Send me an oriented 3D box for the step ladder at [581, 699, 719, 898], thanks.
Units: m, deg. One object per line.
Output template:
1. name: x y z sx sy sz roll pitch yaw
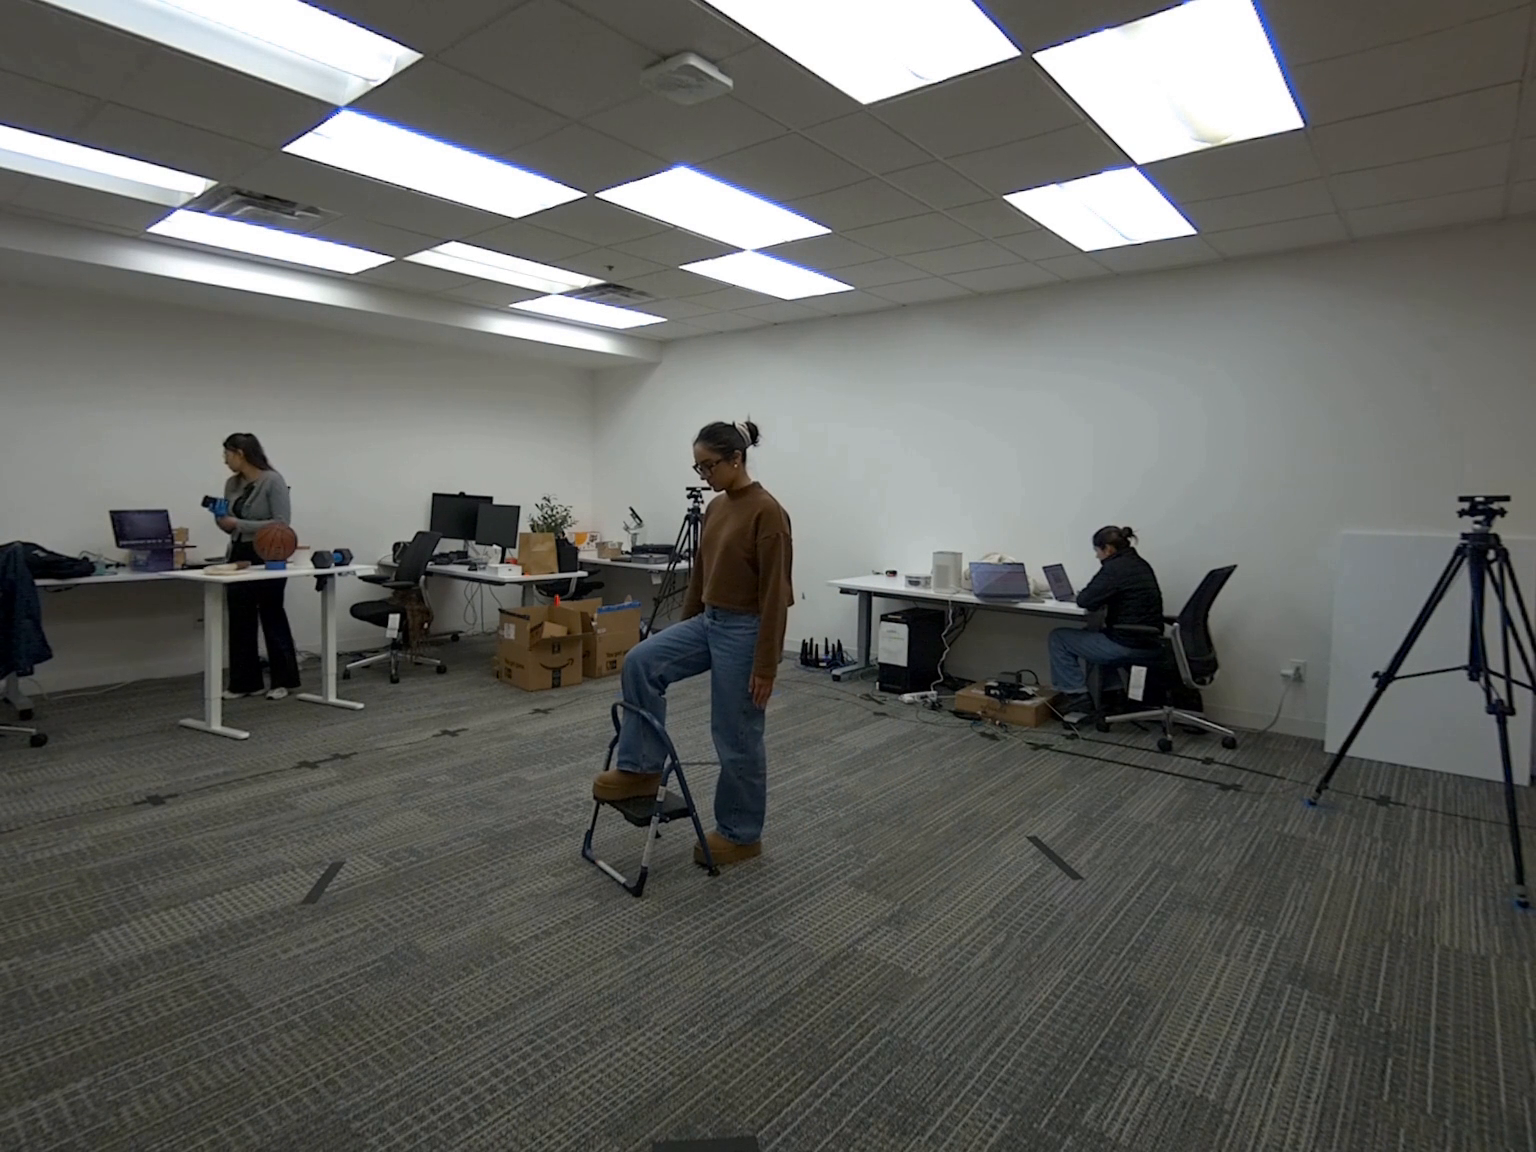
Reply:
1. step ladder: -0.446 0.758 3.116 0.339 0.604 0.445 -2 5 -39
